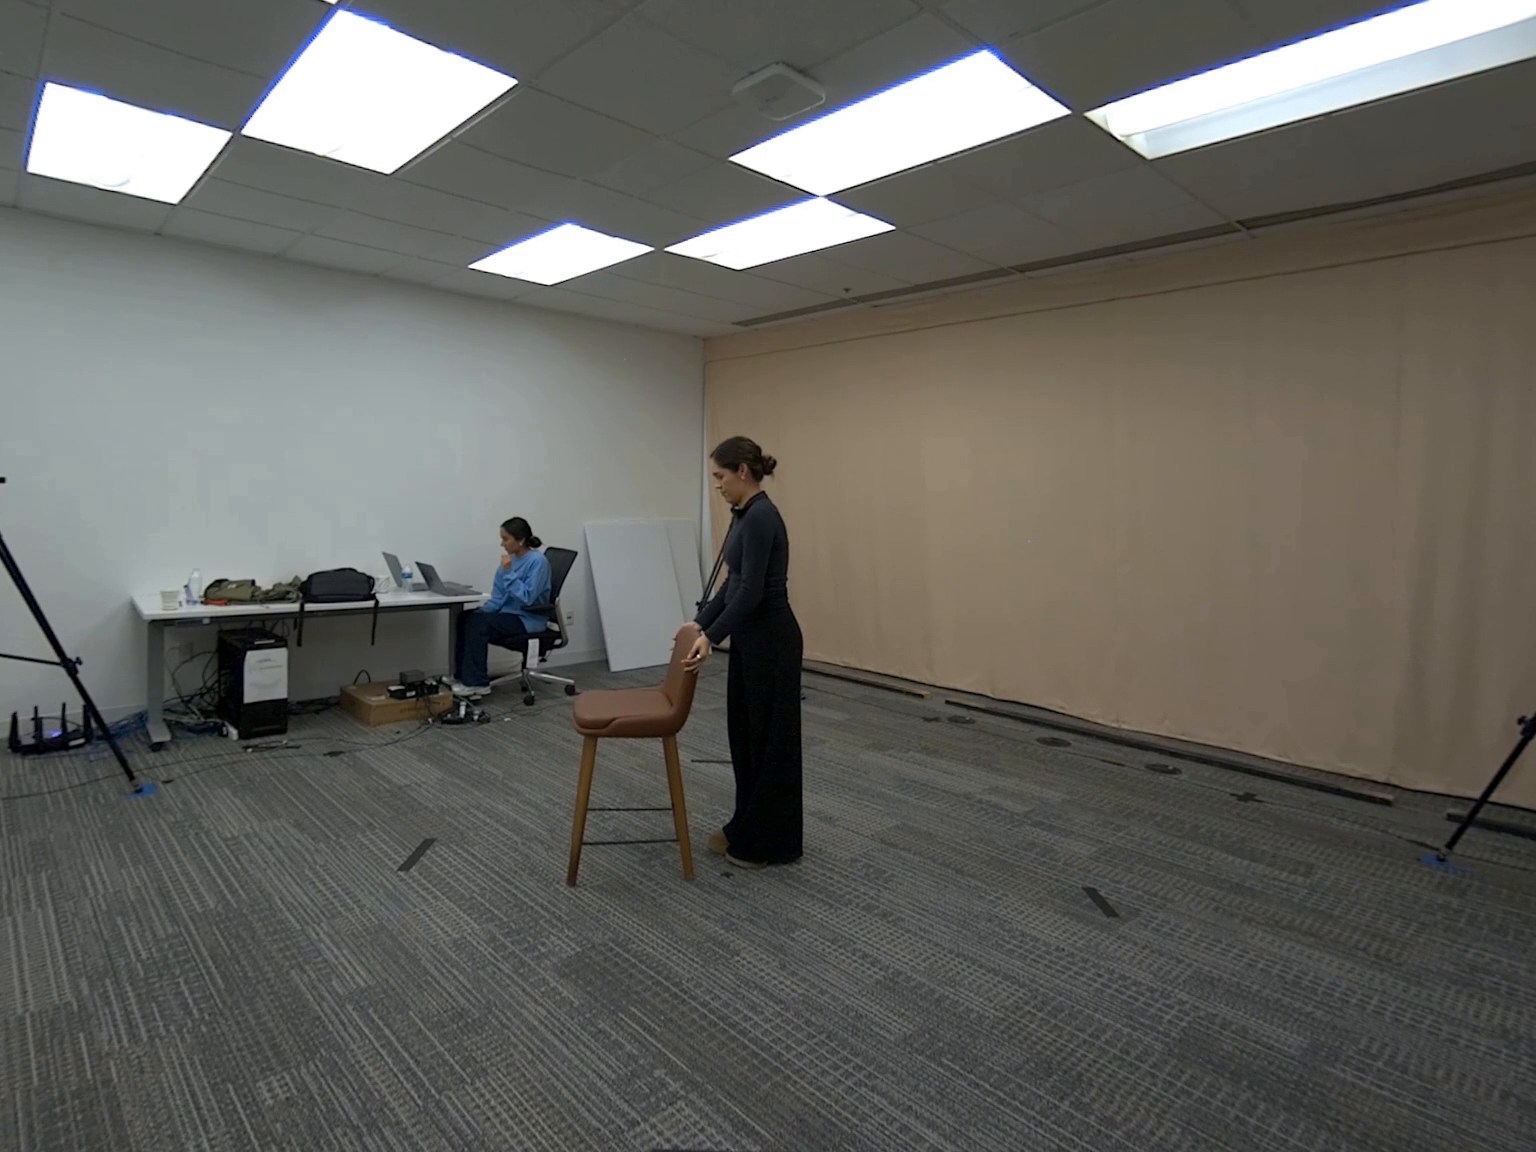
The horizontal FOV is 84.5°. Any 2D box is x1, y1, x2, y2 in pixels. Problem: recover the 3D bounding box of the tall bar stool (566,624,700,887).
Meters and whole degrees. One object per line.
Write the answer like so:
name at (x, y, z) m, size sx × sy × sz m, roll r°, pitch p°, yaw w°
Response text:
tall bar stool at (-0.507, 0.646, 3.180) m, size 0.464 × 0.888 × 0.461 m, roll 3°, pitch 3°, yaw -10°
